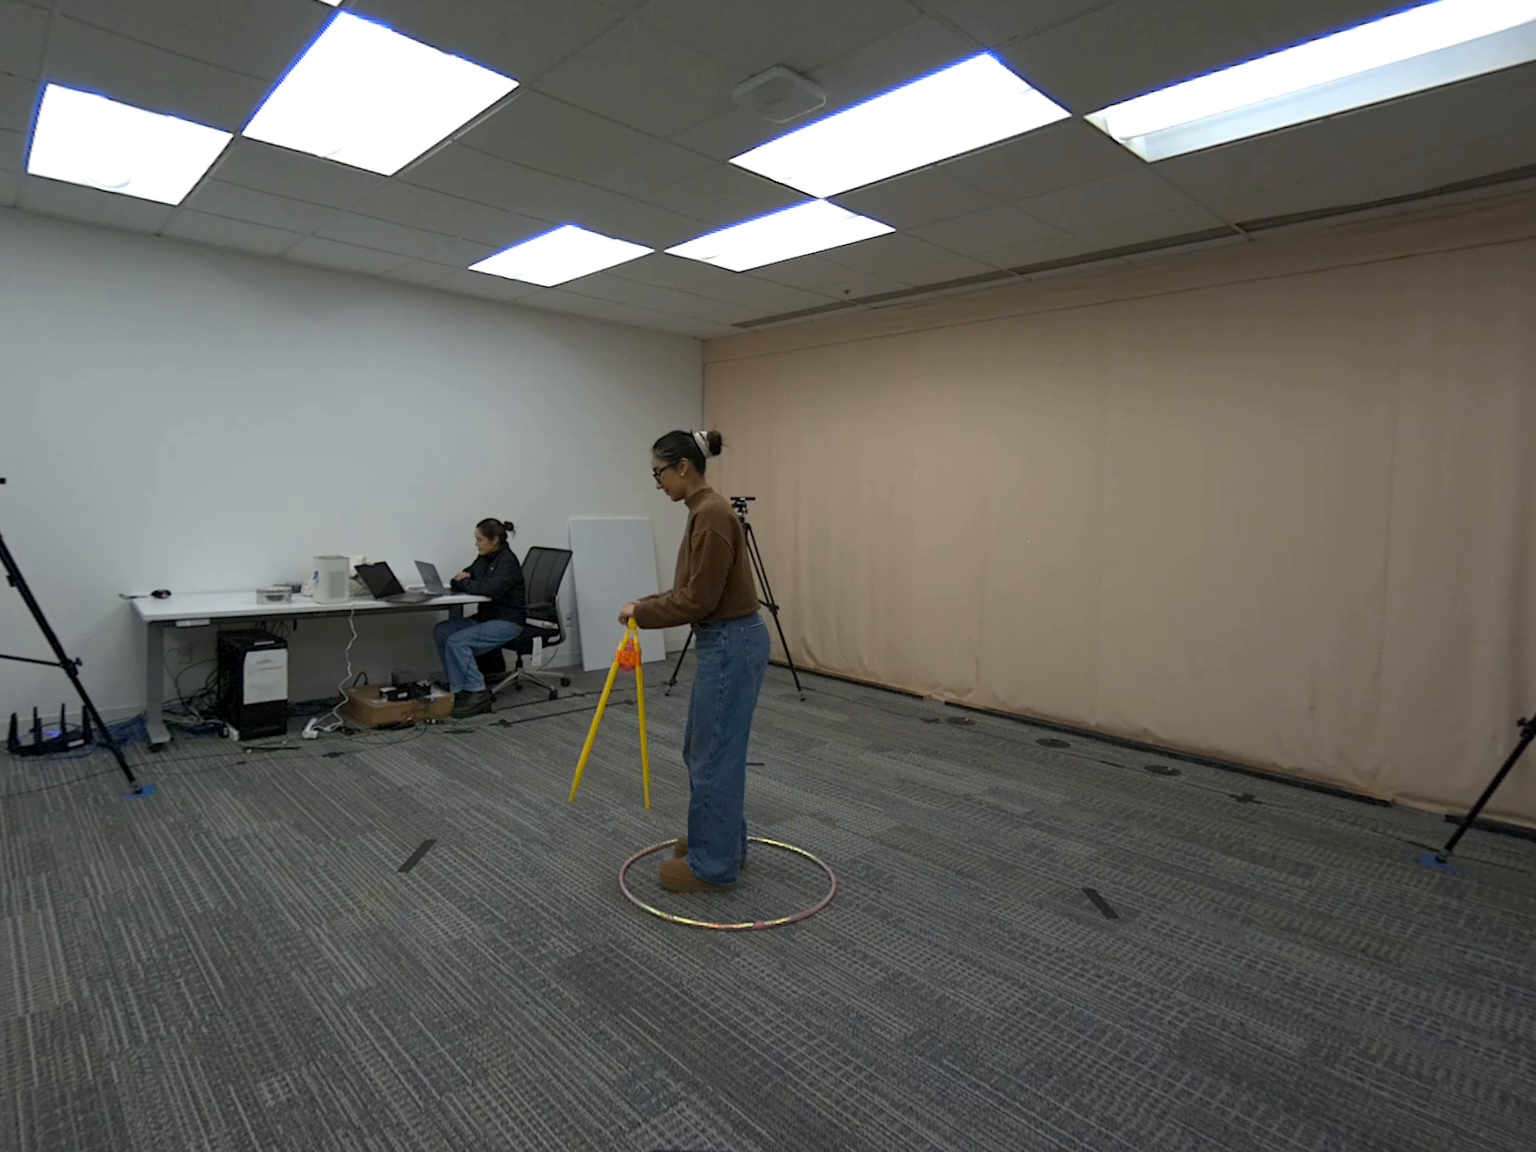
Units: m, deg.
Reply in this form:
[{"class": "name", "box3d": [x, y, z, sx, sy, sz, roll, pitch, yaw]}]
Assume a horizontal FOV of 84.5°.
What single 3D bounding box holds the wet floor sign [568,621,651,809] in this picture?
[{"class": "wet floor sign", "box3d": [-0.523, 0.459, 2.978, 0.287, 0.648, 0.284, 7, -4, -9]}]
